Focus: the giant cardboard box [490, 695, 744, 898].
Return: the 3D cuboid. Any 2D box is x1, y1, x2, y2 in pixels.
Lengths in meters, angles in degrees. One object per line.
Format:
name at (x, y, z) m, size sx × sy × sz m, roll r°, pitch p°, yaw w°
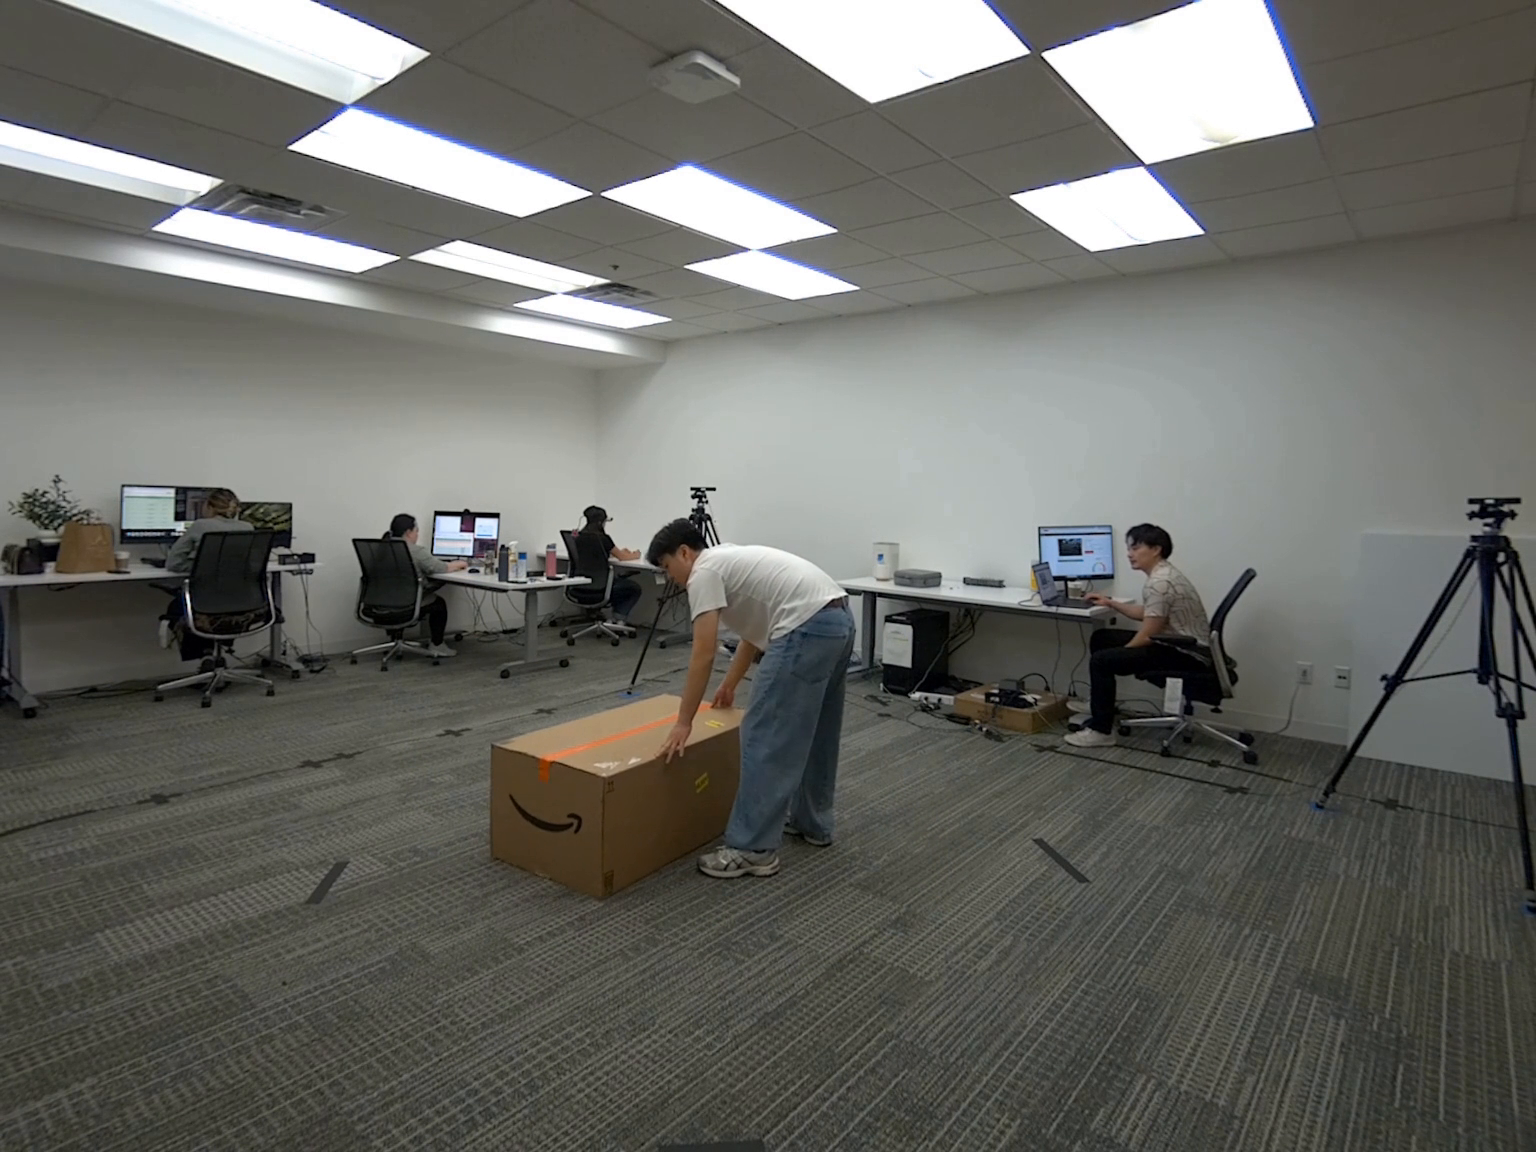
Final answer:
giant cardboard box at (-0.538, 0.816, 3.409) m, size 0.596 × 0.424 × 0.998 m, roll 5°, pitch 6°, yaw 32°
